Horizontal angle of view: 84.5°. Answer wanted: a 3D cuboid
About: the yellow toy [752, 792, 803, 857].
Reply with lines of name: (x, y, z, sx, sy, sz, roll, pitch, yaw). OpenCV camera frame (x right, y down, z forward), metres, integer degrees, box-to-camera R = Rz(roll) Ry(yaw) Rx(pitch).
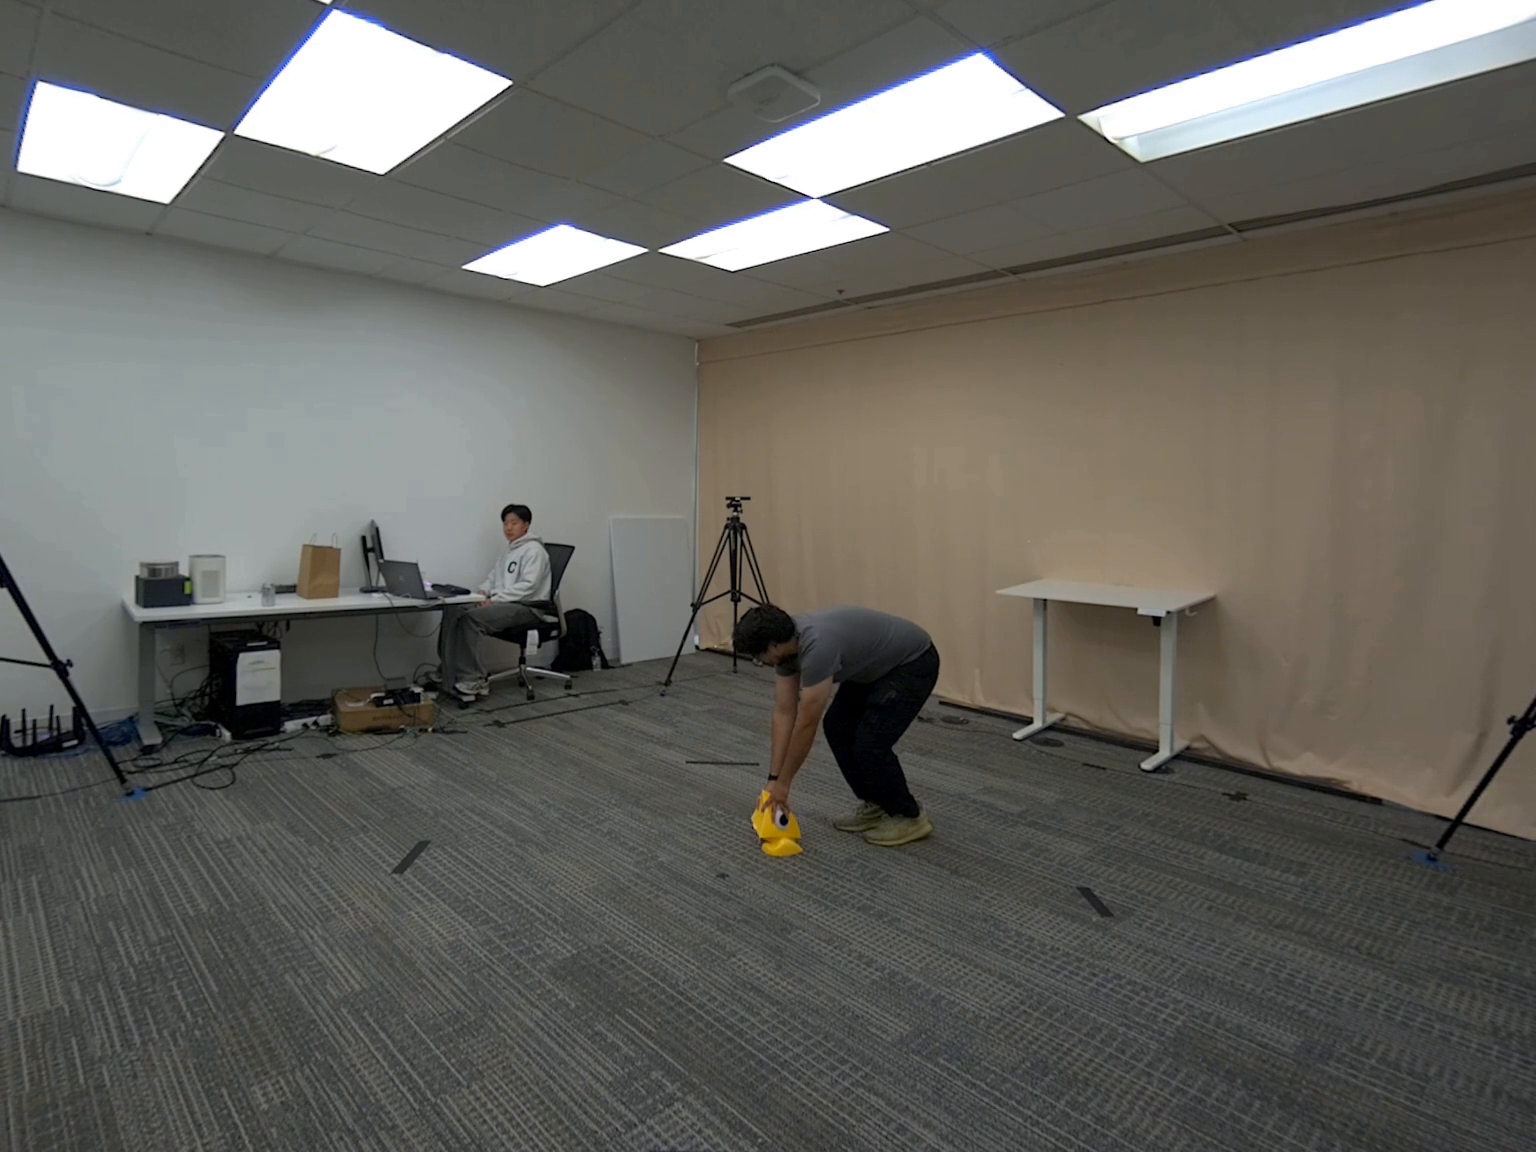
yellow toy: (0.028, 0.973, 3.385, 0.192, 0.230, 0.207, -1, 4, -9)
